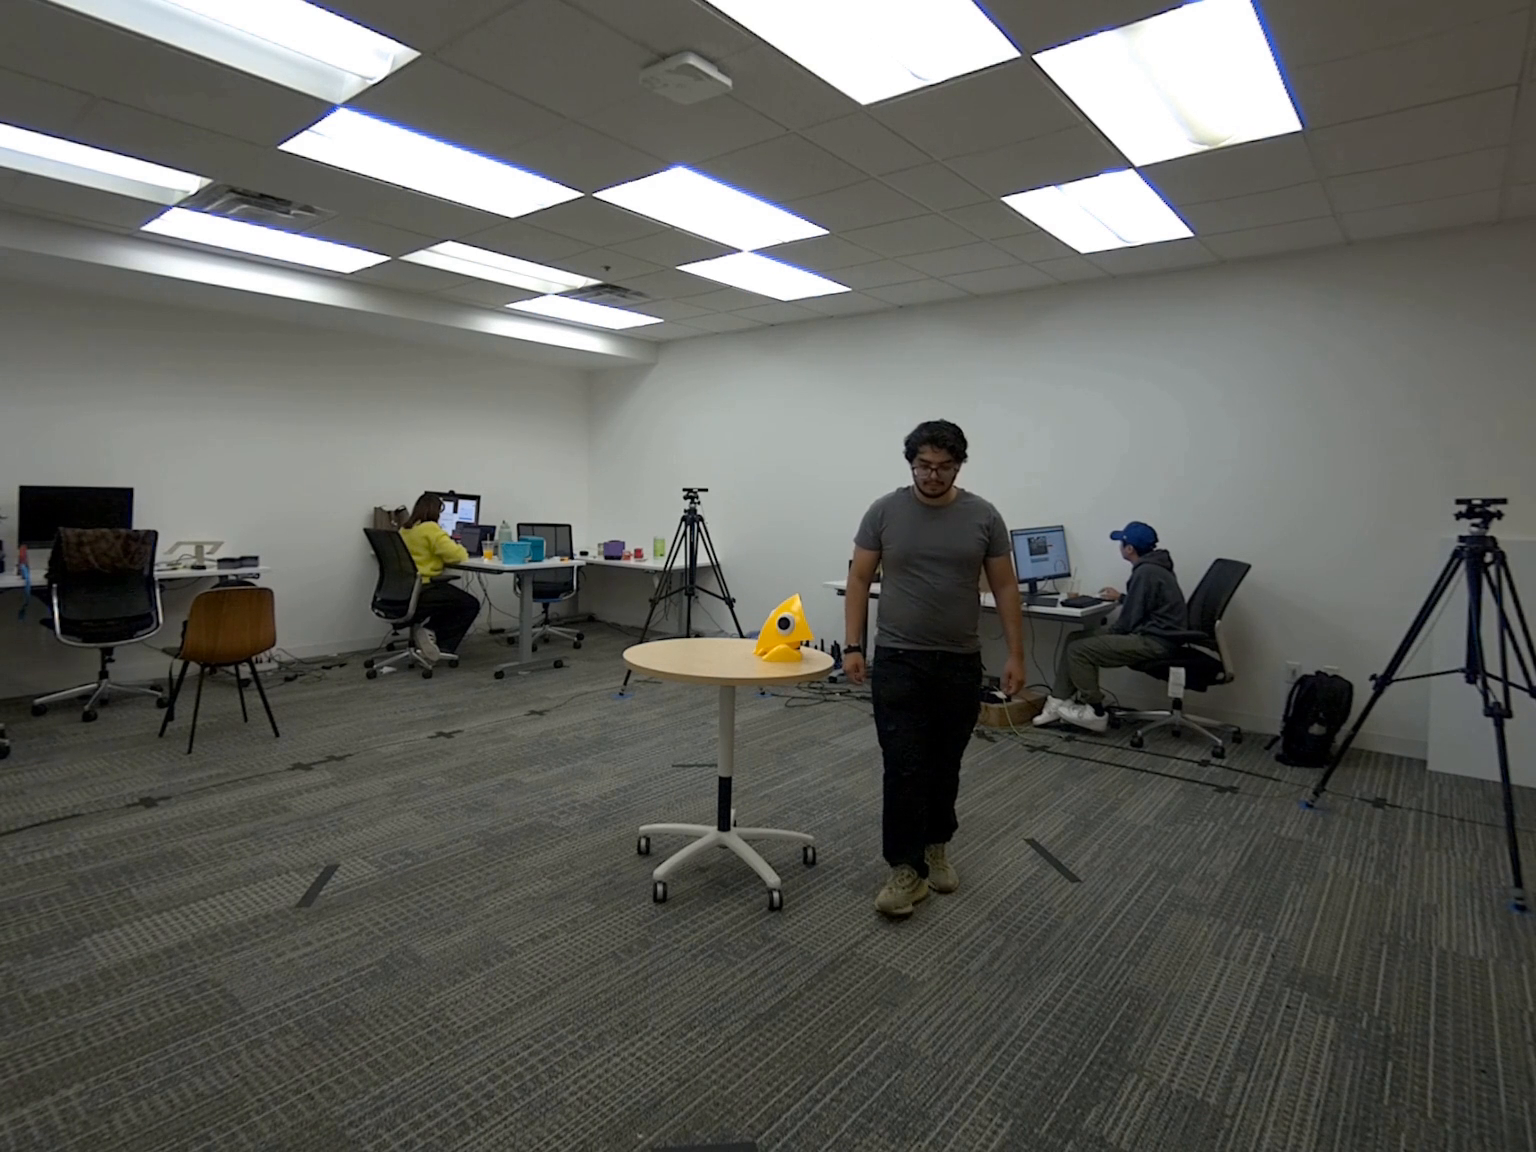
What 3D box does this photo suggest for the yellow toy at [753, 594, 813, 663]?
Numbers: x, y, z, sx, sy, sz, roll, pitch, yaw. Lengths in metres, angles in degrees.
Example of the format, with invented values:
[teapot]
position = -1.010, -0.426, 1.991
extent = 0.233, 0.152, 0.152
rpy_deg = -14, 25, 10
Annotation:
[yellow toy]
position = 0.038, 0.178, 3.112
extent = 0.190, 0.230, 0.208
rpy_deg = 1, 4, -15
